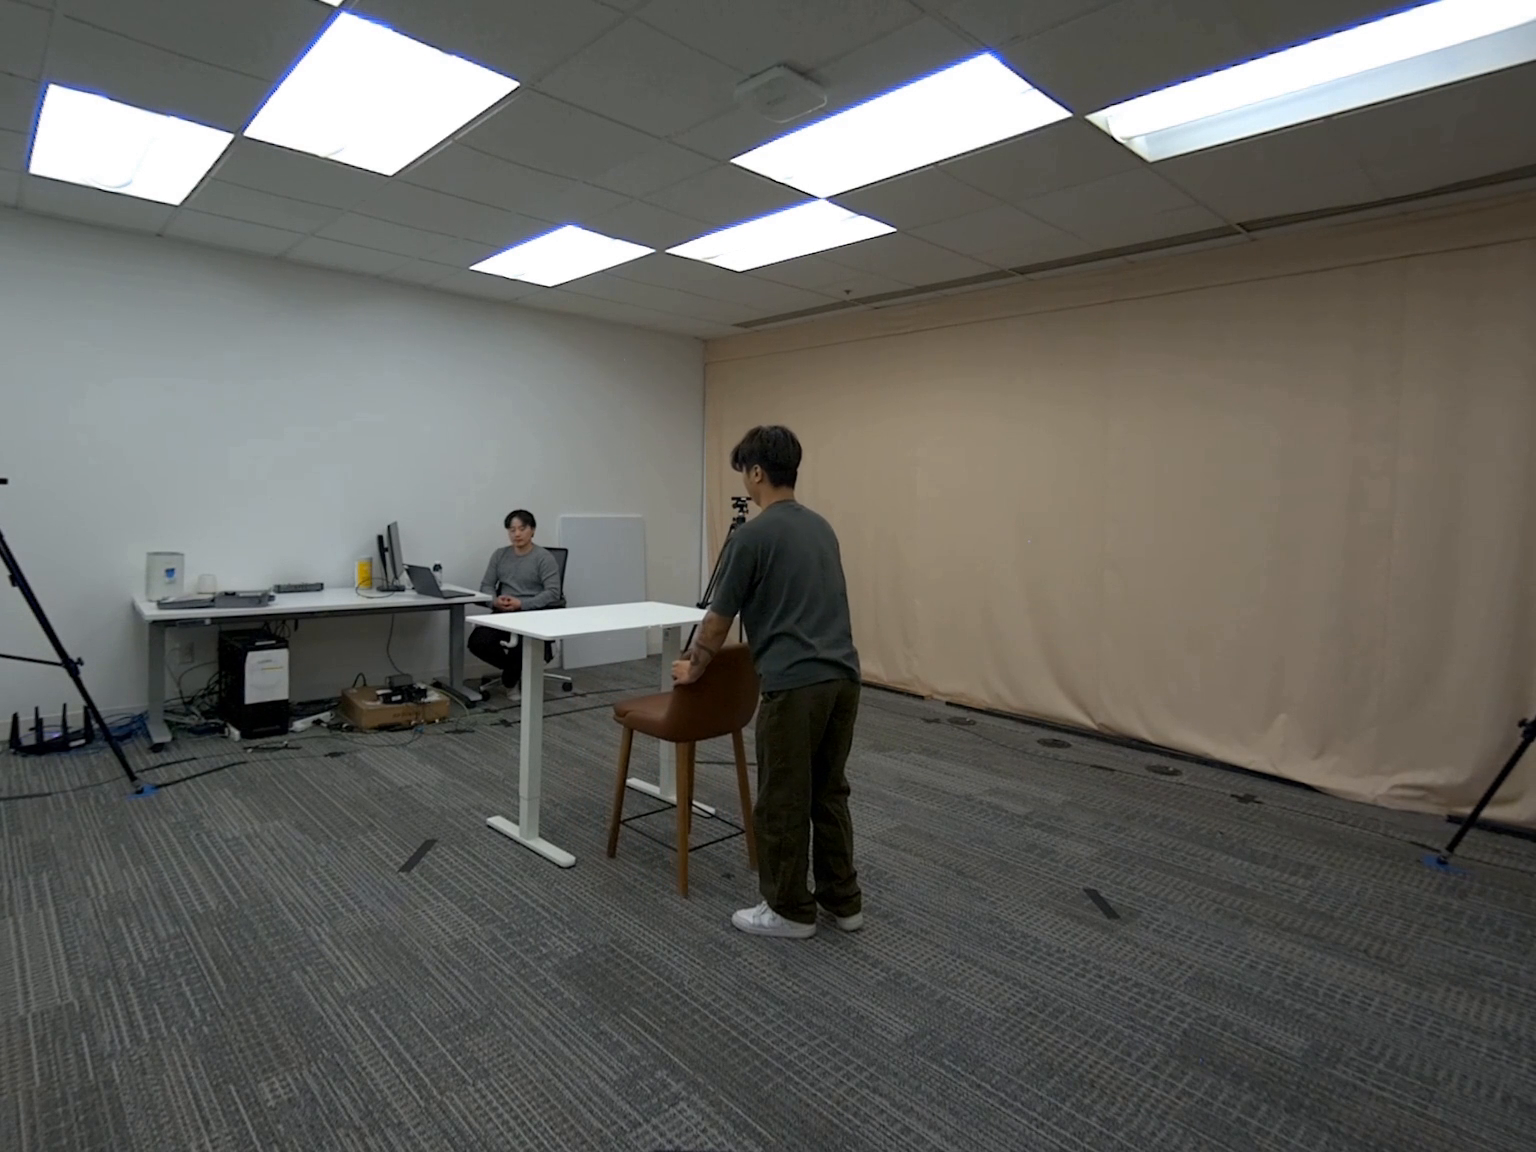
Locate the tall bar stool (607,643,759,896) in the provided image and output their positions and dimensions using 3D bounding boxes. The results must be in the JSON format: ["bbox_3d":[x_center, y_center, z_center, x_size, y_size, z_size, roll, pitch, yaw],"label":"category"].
[{"bbox_3d":[-0.308,0.657,3.177,0.446,0.887,0.480,-2,7,-44],"label":"tall bar stool"}]
